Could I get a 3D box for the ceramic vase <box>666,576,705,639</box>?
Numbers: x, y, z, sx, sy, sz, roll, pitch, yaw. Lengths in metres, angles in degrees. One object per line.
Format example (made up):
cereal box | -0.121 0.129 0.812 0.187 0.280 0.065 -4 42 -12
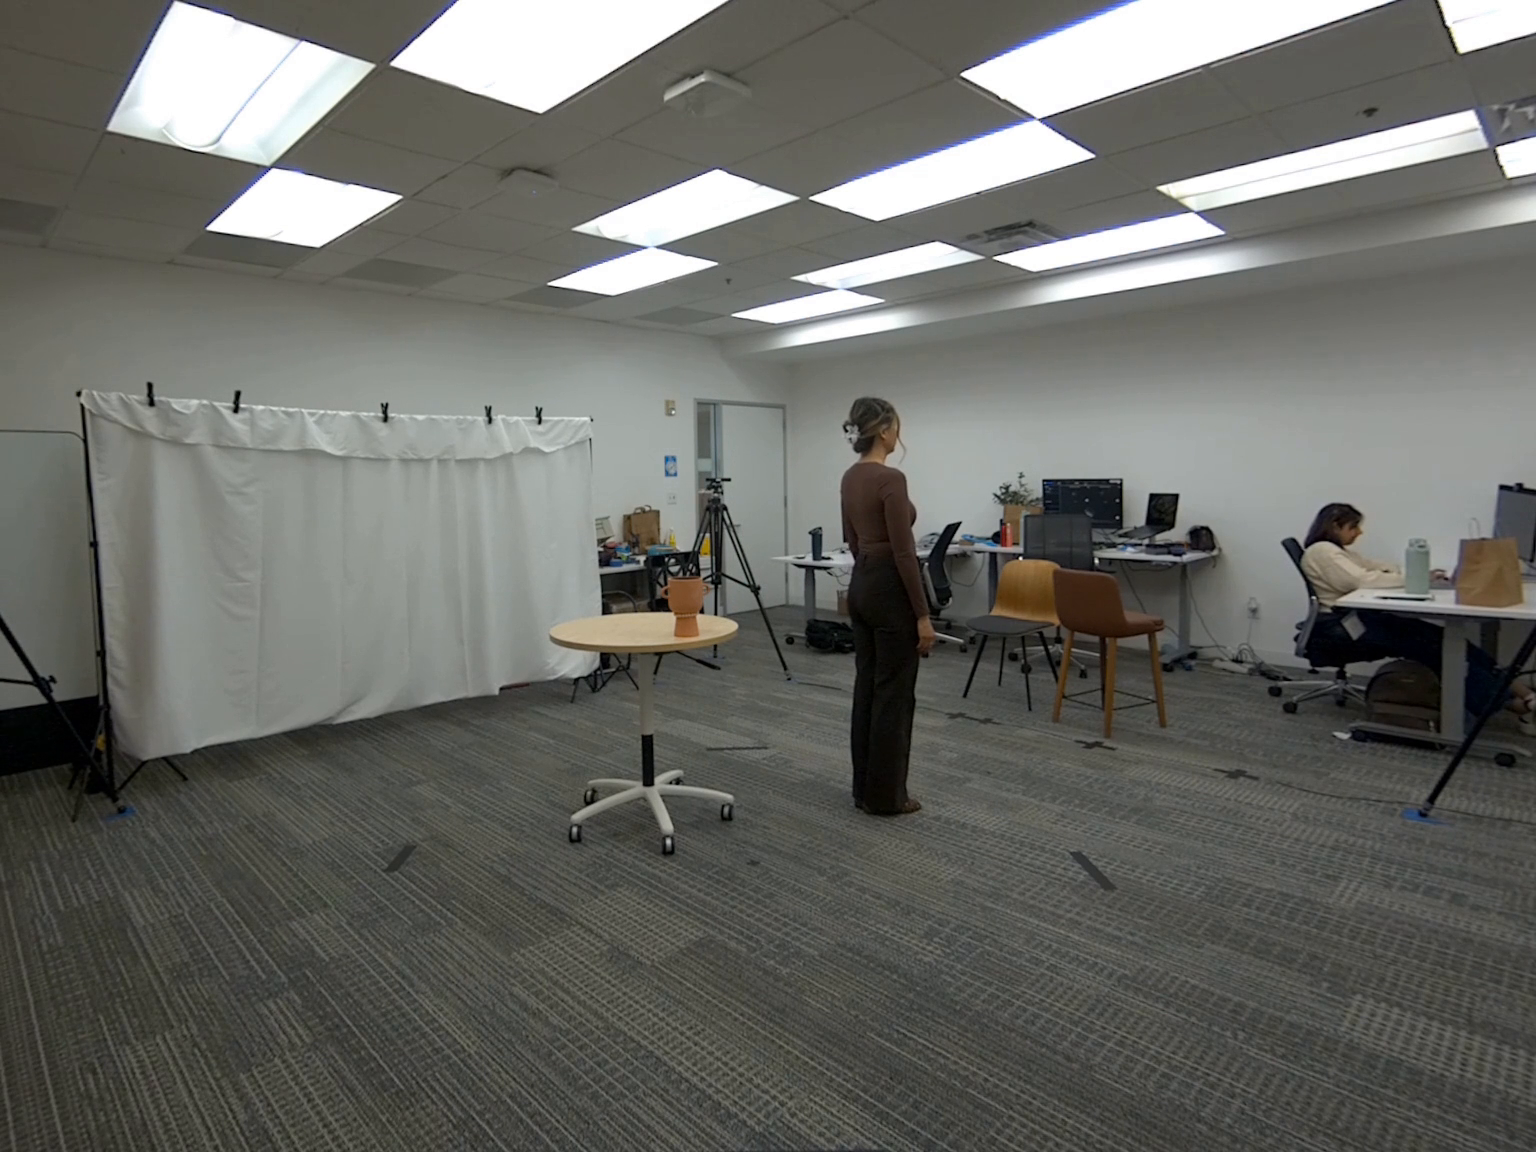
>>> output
ceramic vase | -0.317 0.119 3.292 0.161 0.219 0.133 1 5 15
